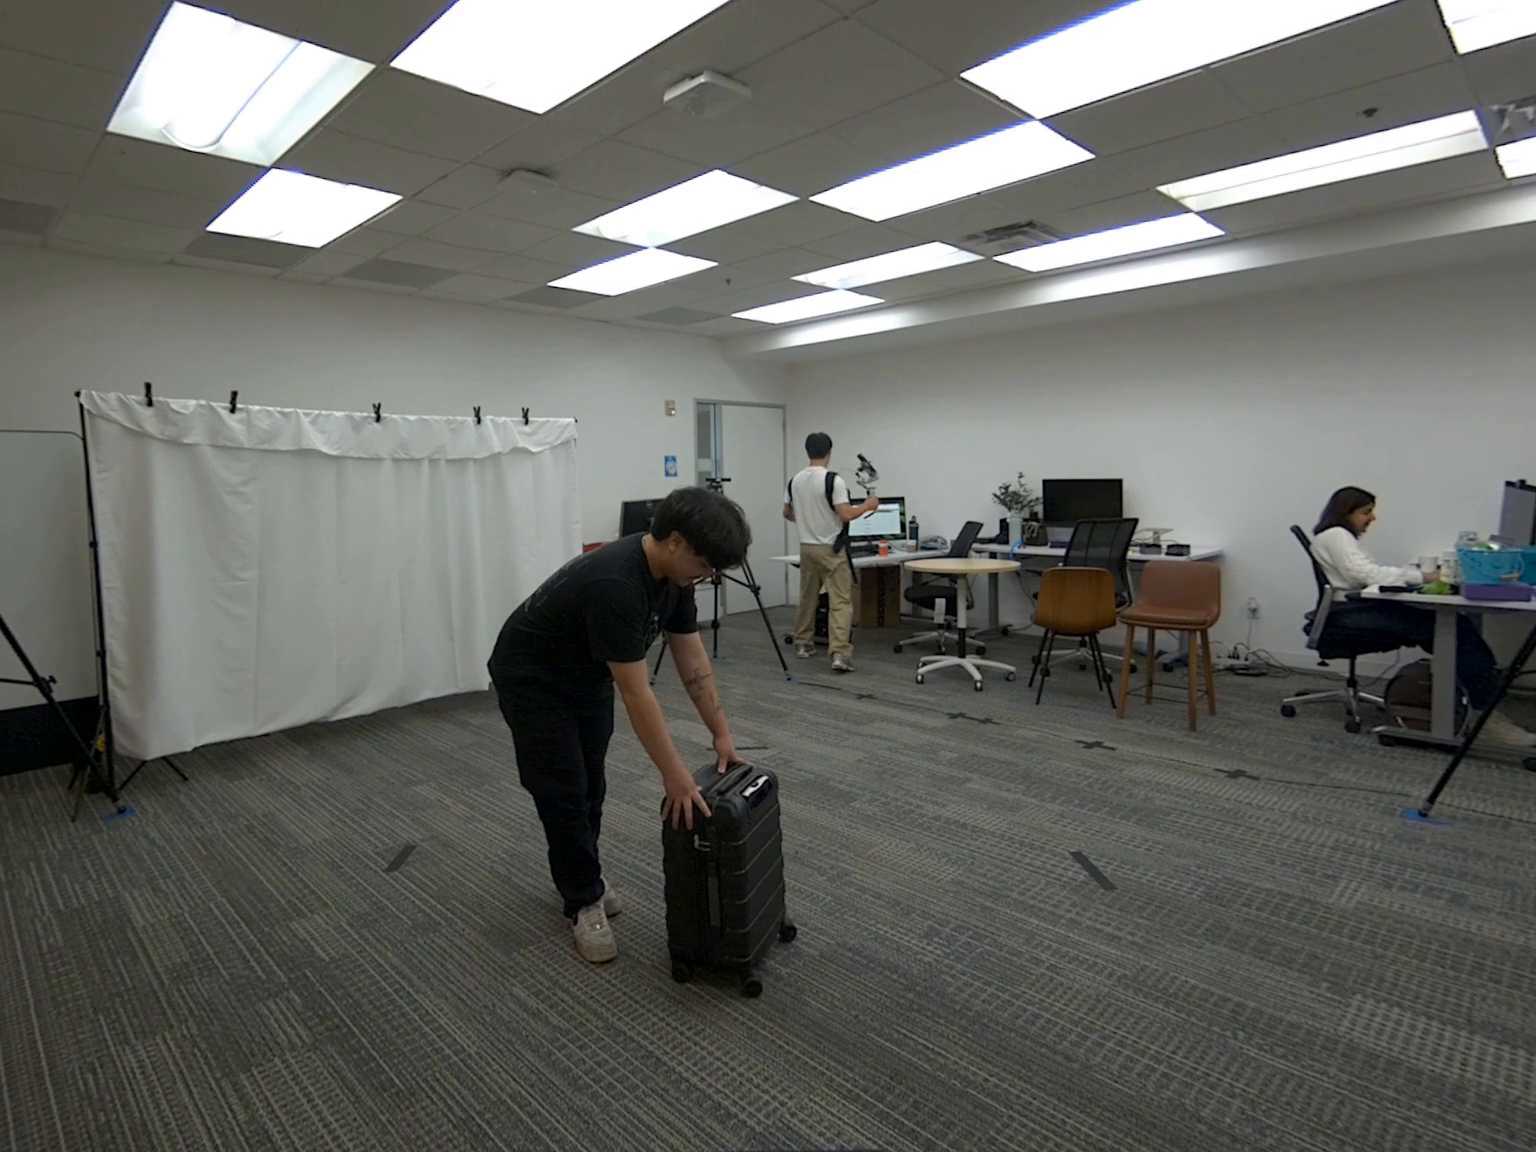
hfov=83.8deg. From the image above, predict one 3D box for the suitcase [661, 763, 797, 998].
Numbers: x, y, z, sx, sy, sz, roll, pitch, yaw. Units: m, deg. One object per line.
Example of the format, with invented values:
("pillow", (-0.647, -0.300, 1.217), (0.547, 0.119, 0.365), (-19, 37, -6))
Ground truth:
("suitcase", (-0.119, 0.842, 2.473), (0.253, 0.547, 0.369), (-2, 5, 23))
